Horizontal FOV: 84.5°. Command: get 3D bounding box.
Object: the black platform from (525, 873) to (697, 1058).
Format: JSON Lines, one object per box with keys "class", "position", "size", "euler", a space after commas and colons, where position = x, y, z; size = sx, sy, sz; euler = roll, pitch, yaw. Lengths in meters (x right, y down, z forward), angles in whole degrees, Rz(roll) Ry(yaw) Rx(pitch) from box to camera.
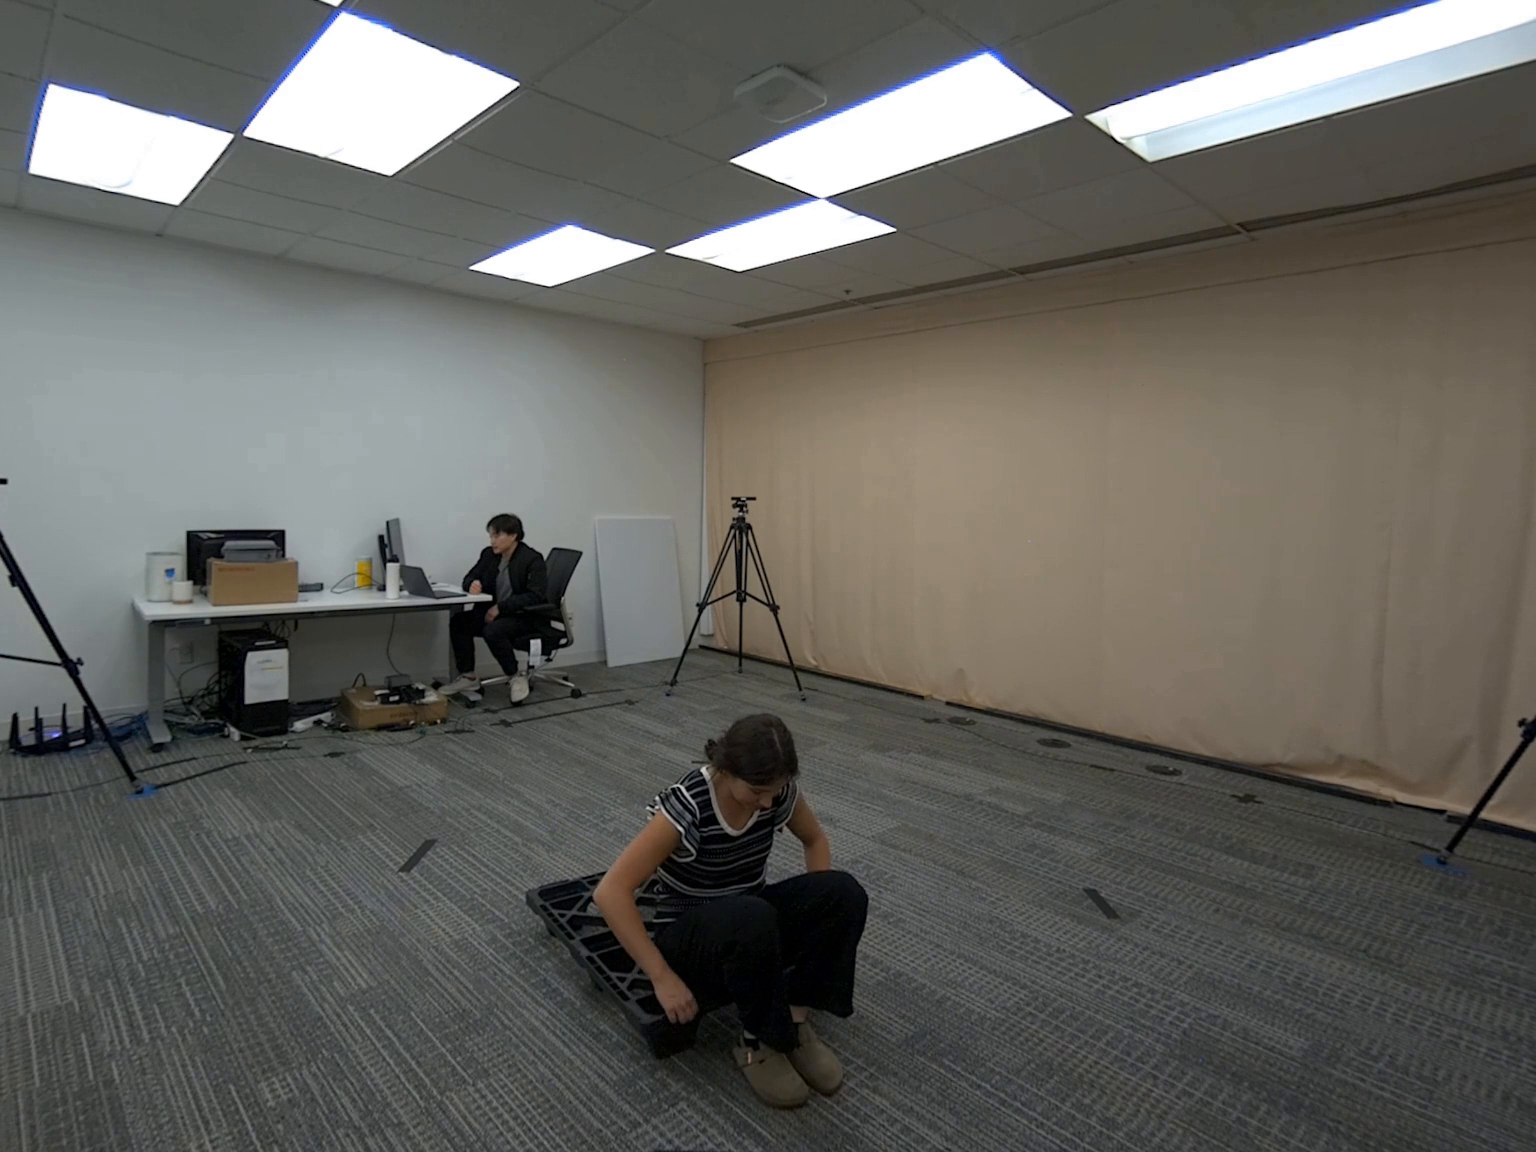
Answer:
{"class": "black platform", "position": [-0.303, 1.092, 2.501], "size": [0.592, 0.143, 0.826], "euler": [-4, 7, -35]}
